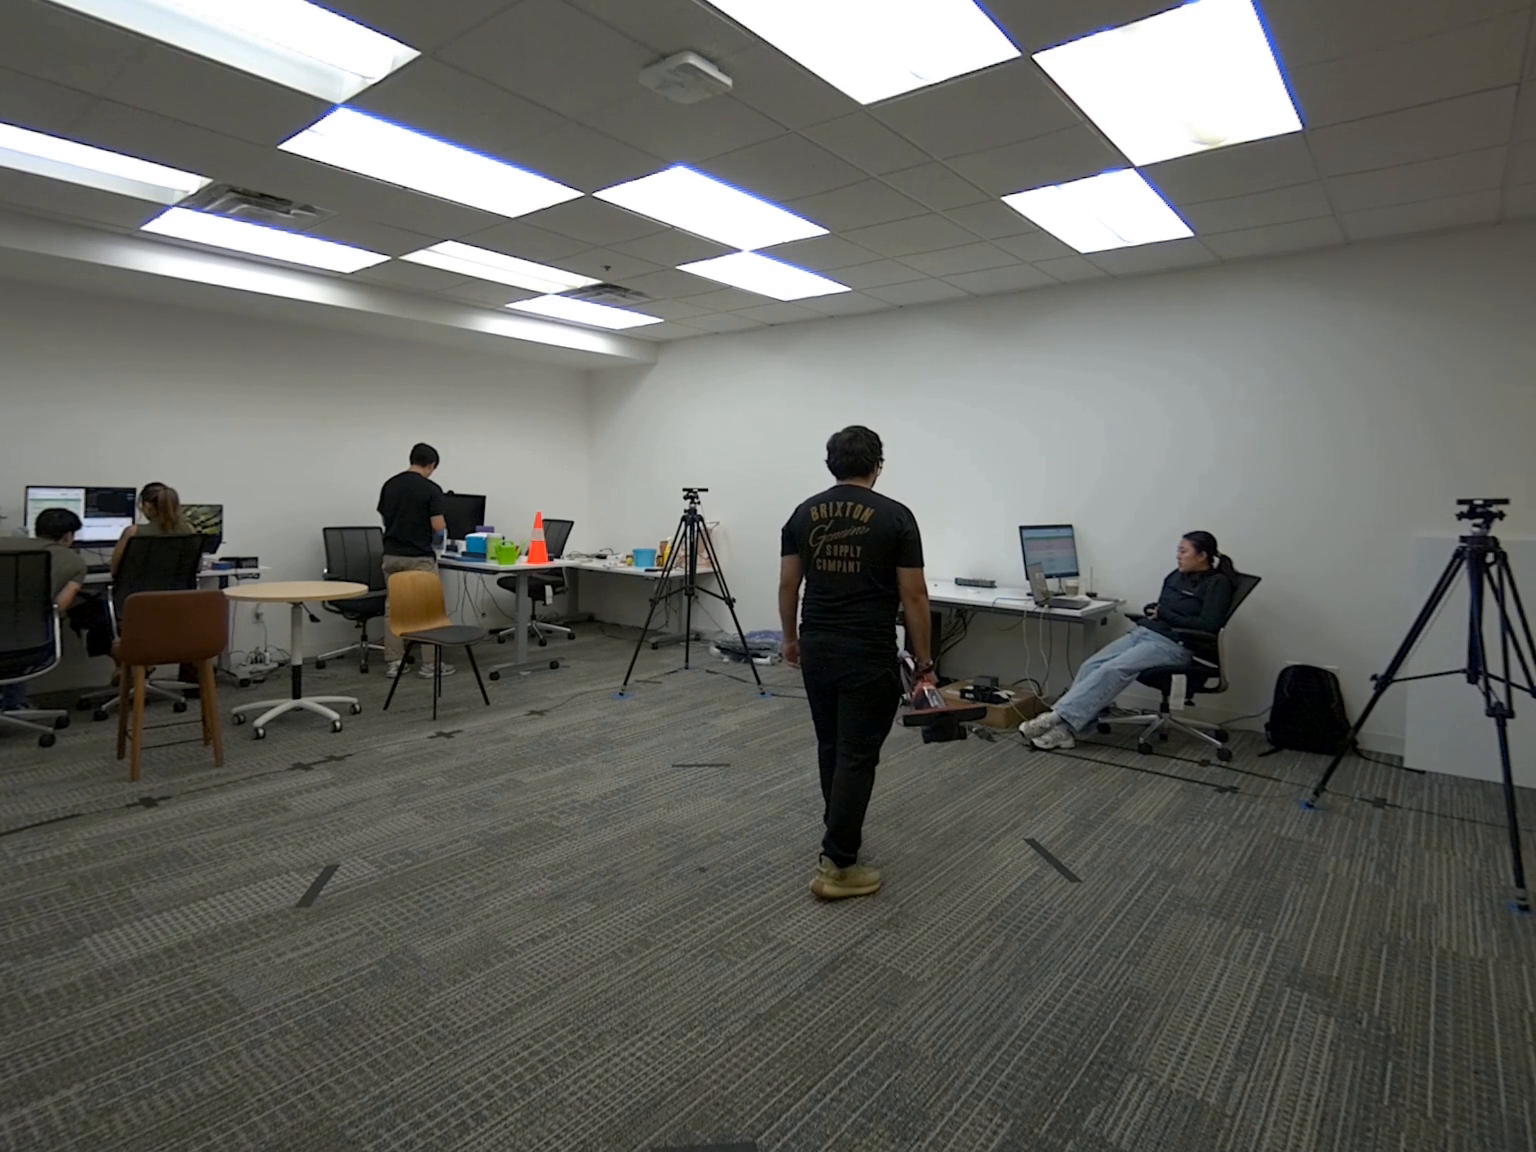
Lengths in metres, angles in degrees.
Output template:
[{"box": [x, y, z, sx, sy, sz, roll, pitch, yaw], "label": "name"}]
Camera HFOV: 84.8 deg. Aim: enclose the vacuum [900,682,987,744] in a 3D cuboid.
[{"box": [0.557, 0.414, 3.147, 0.253, 0.143, 1.051, -3, 6, 1], "label": "vacuum"}]
